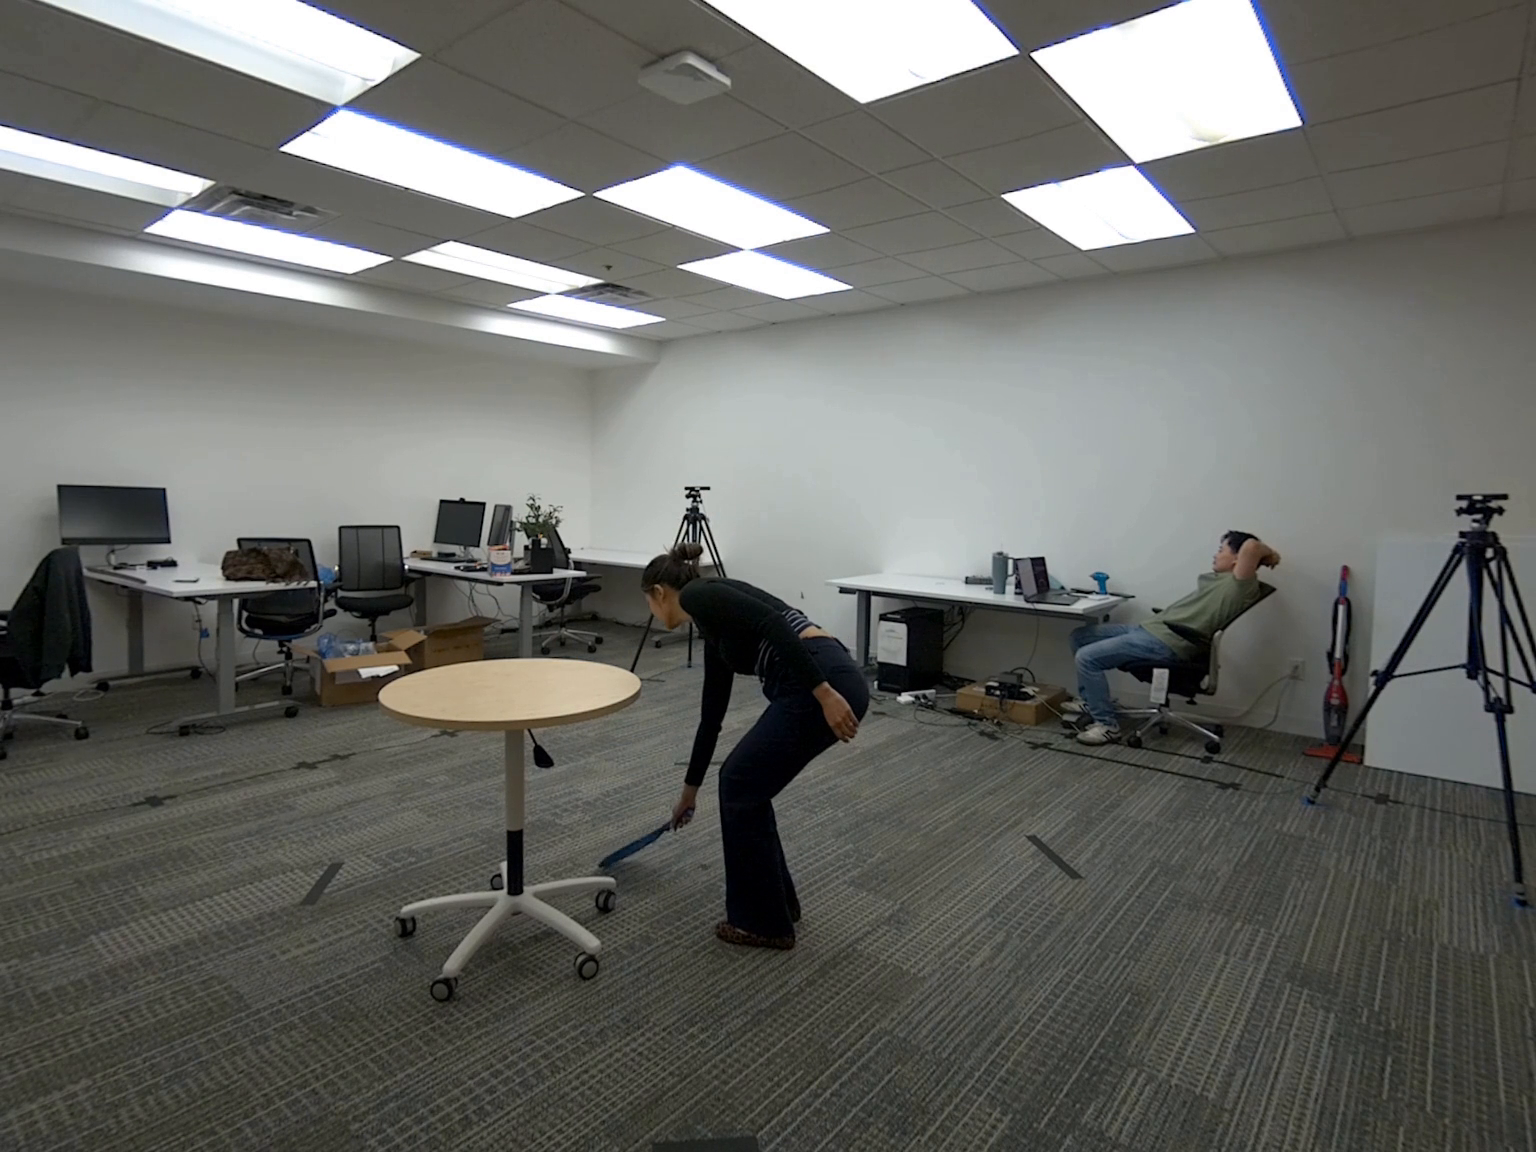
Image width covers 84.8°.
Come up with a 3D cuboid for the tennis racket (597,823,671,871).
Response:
[{"bbox_3d":[-0.446,0.928,3.026,0.435,0.032,0.206,-34,-21,18],"label":"tennis racket"}]
